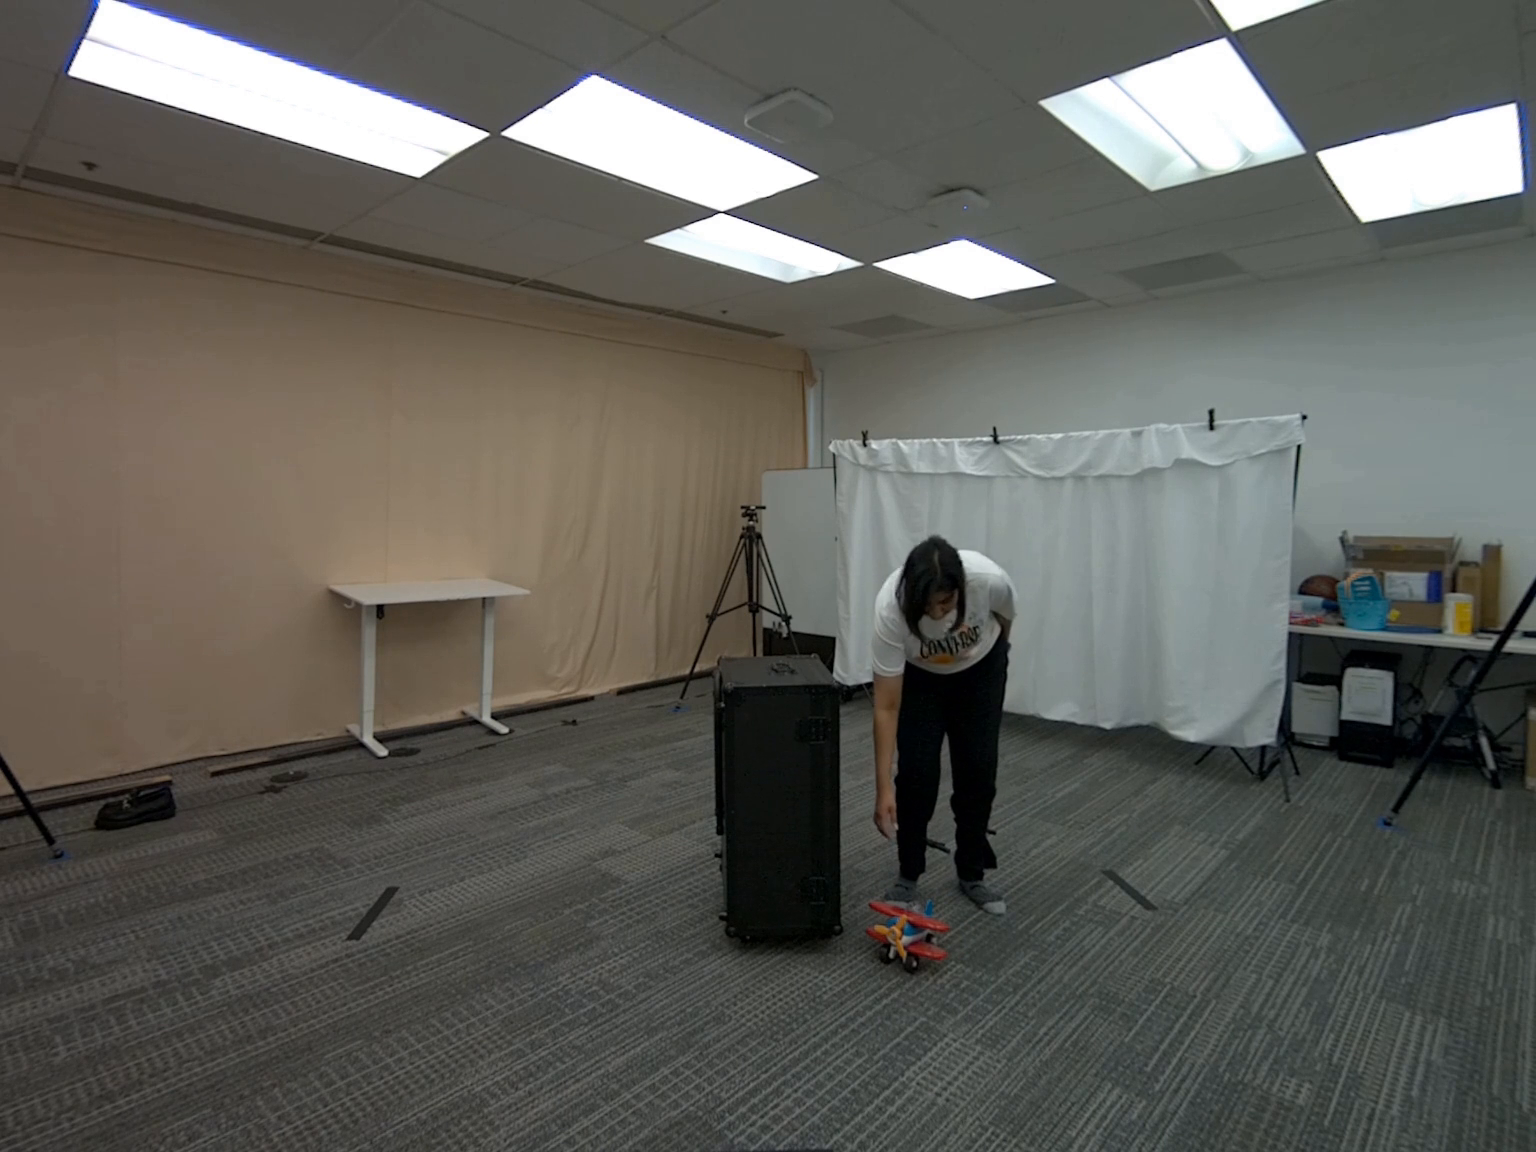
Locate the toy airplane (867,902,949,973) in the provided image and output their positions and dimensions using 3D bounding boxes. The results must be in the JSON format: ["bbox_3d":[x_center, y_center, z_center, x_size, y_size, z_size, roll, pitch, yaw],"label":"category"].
[{"bbox_3d":[0.437,1.106,2.599,0.254,0.156,0.257,1,6,9],"label":"toy airplane"}]
